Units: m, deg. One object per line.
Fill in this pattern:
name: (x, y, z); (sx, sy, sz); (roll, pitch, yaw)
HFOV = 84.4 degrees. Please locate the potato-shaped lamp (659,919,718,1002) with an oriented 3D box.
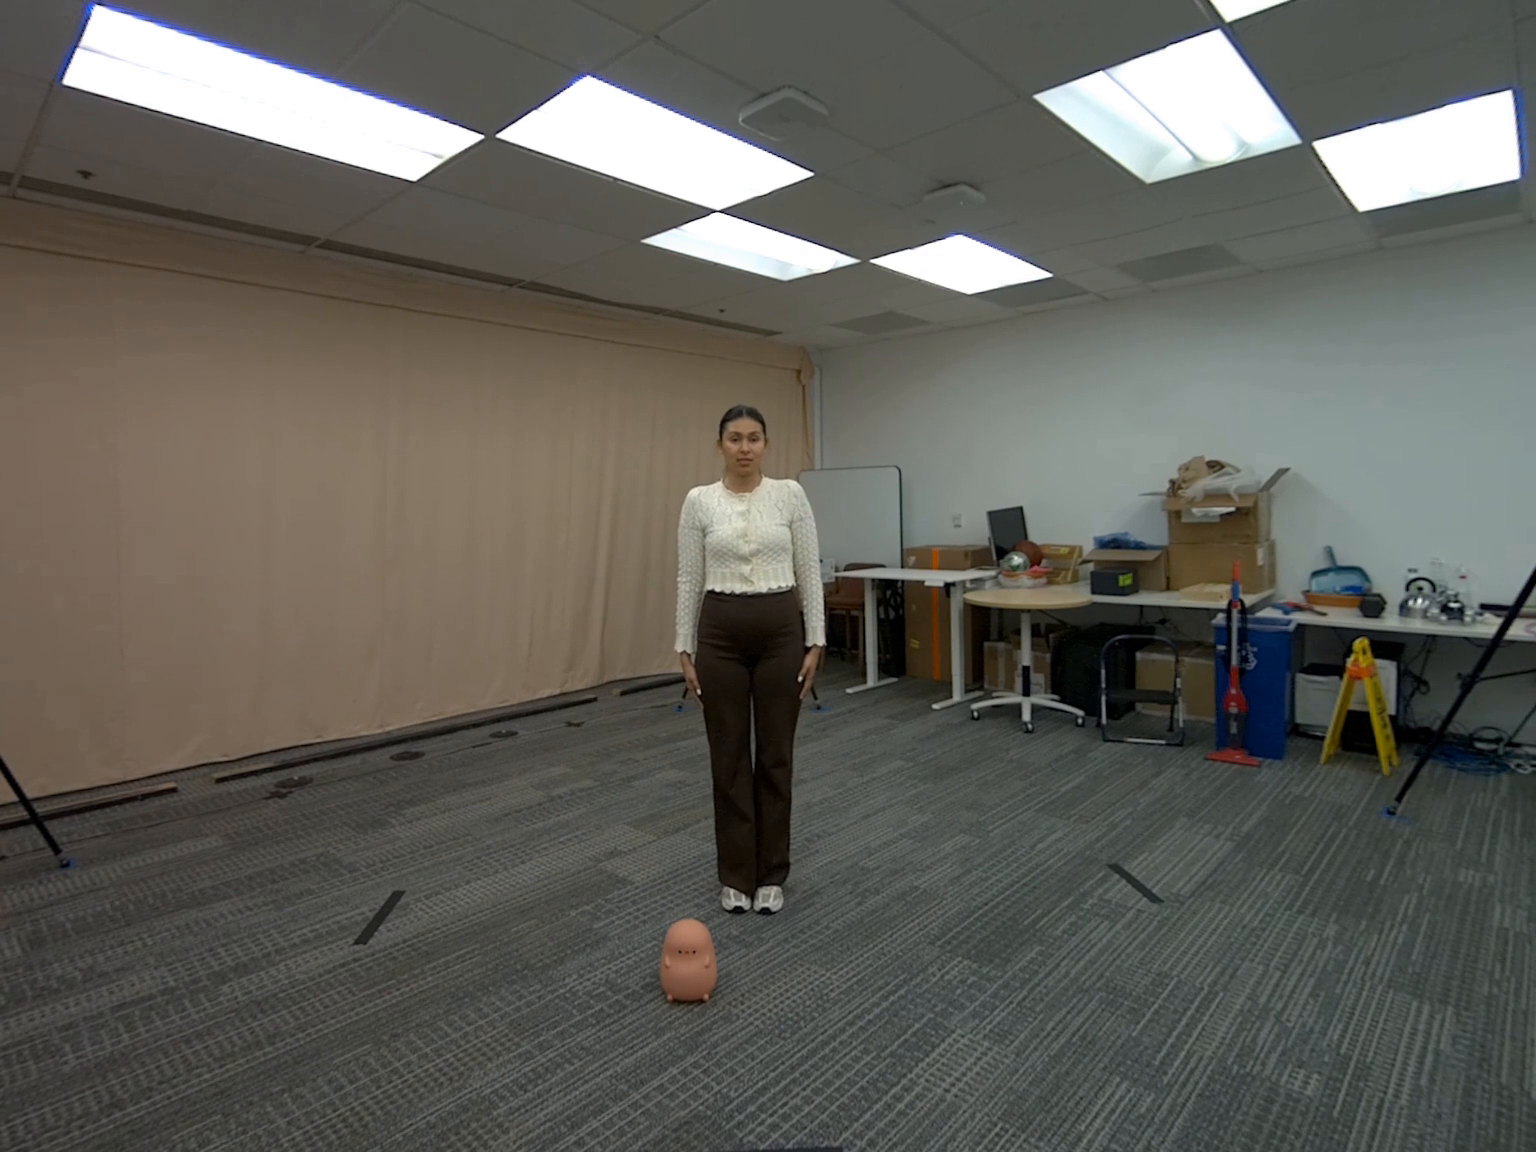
potato-shaped lamp: (-0.228, 1.091, 2.412); (0.165, 0.197, 0.171); (-1, 5, 2)
